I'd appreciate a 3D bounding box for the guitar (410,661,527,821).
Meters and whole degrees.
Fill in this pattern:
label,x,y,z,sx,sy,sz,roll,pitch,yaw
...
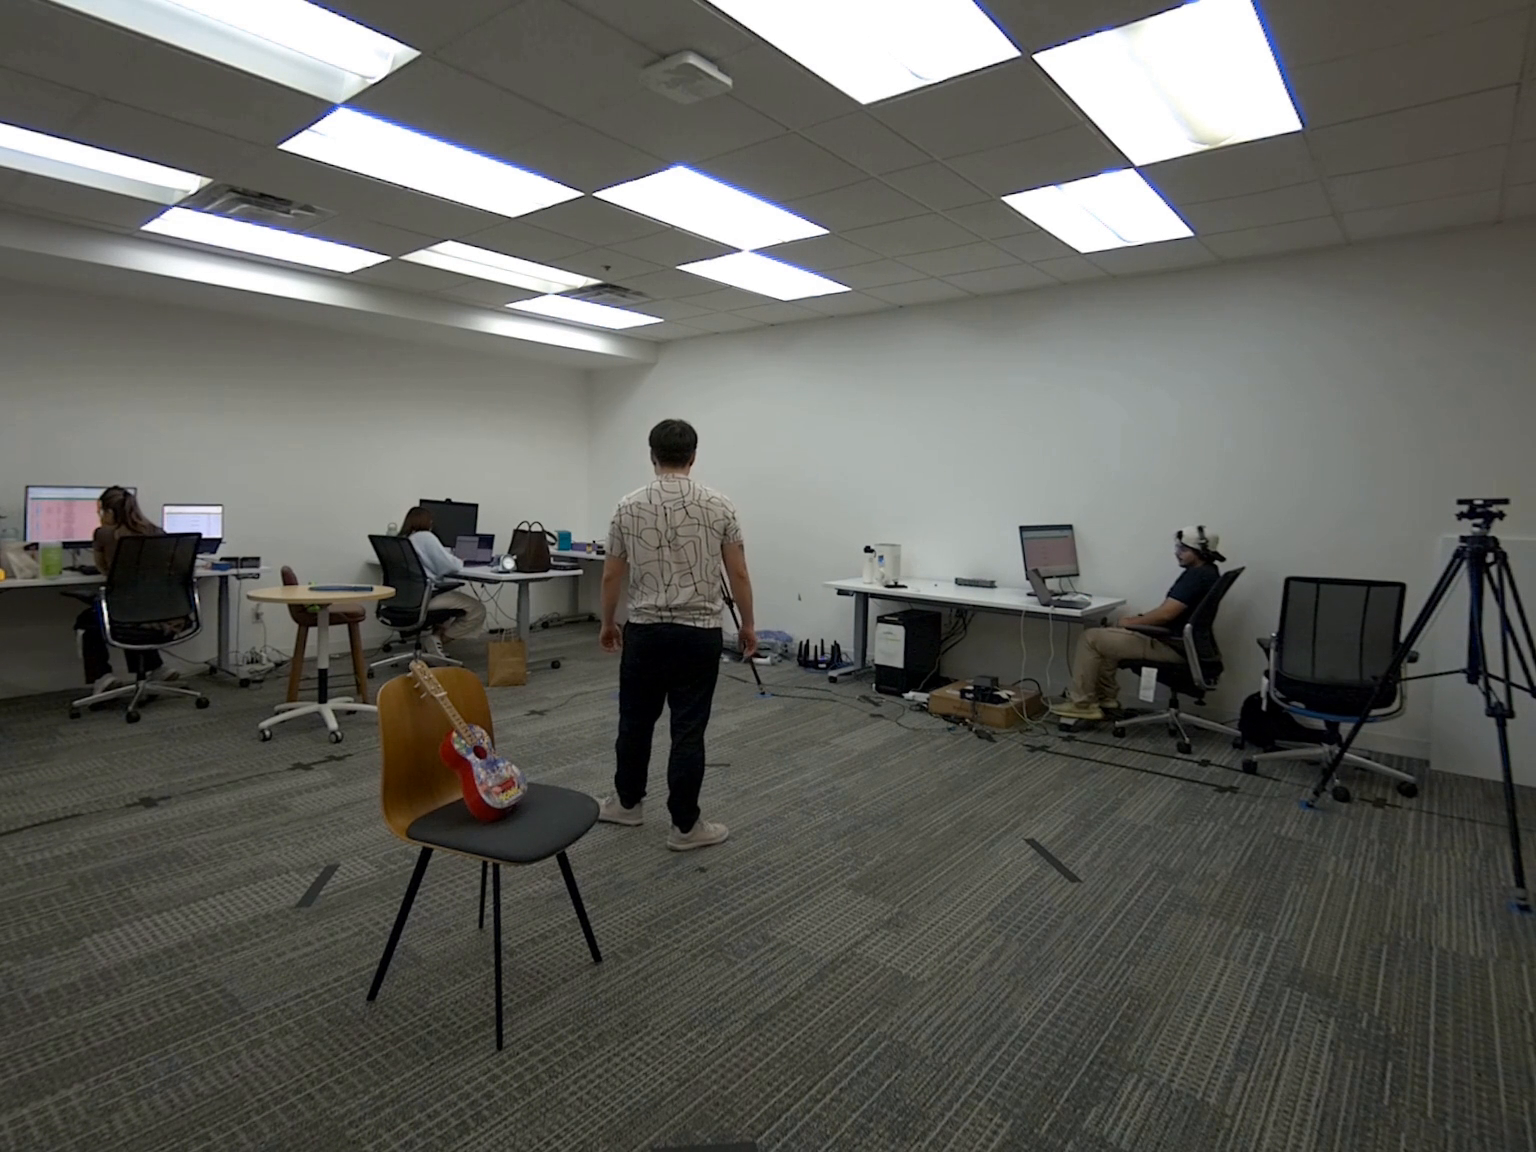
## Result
label,x,y,z,sx,sy,sz,roll,pitch,yaw
guitar,-0.873,0.453,2.421,0.071,0.511,0.188,-42,-19,17
